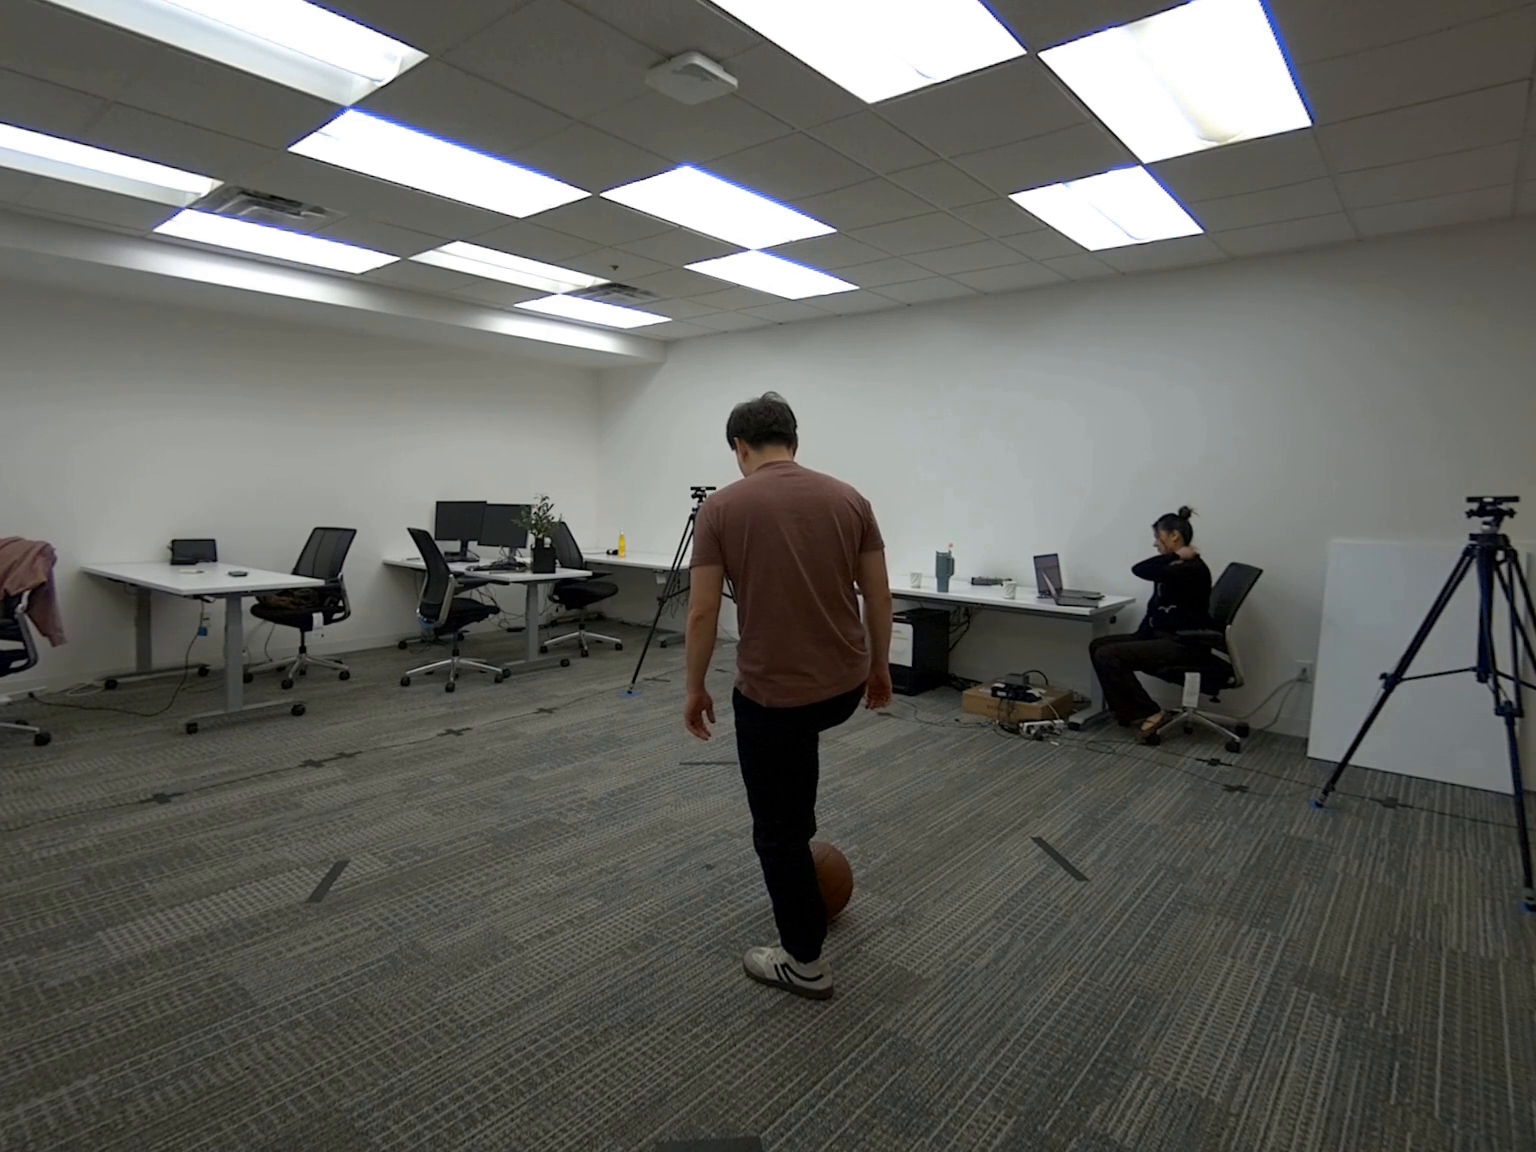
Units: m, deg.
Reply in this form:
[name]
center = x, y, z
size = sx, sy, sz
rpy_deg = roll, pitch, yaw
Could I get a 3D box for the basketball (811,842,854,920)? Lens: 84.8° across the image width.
[basketball]
center = 0.161, 0.989, 2.775
size = 0.235, 0.235, 0.237
rpy_deg = 1, 4, -2
